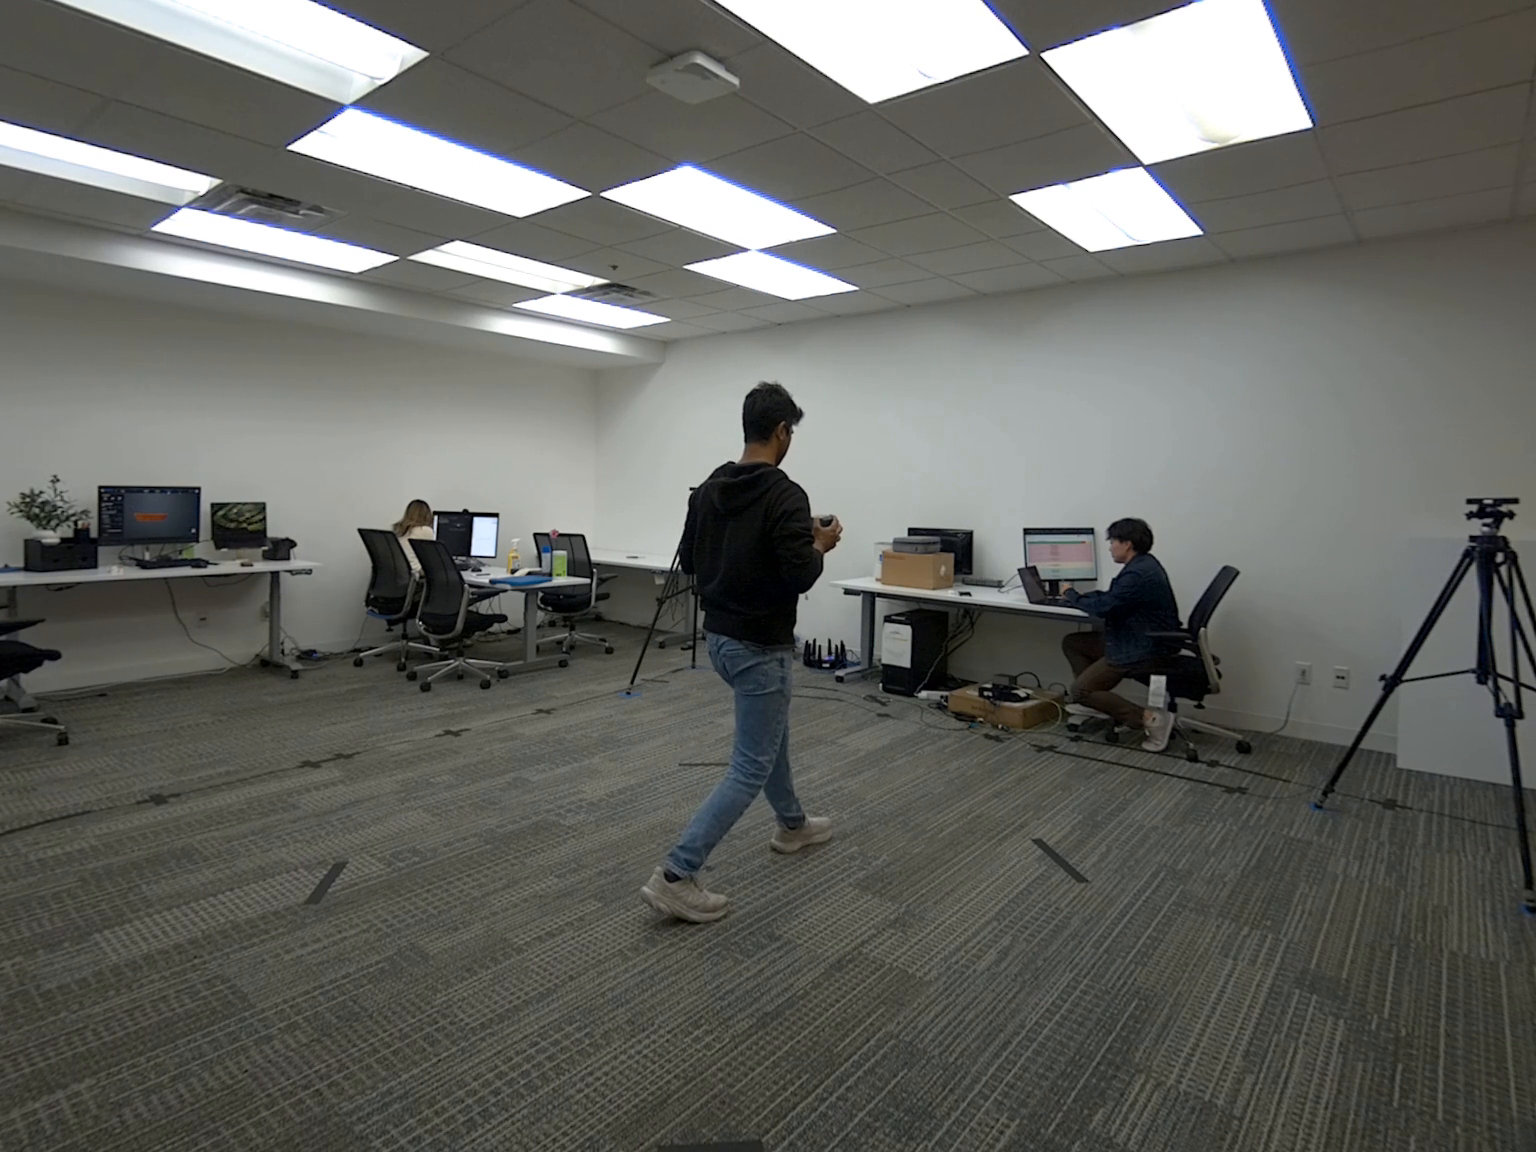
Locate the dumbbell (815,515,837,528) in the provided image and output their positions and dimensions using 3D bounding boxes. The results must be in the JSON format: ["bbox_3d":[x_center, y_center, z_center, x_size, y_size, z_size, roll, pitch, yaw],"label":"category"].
[{"bbox_3d":[0.095,-0.173,3.137,0.304,0.124,0.104,9,-15,44],"label":"dumbbell"}]
